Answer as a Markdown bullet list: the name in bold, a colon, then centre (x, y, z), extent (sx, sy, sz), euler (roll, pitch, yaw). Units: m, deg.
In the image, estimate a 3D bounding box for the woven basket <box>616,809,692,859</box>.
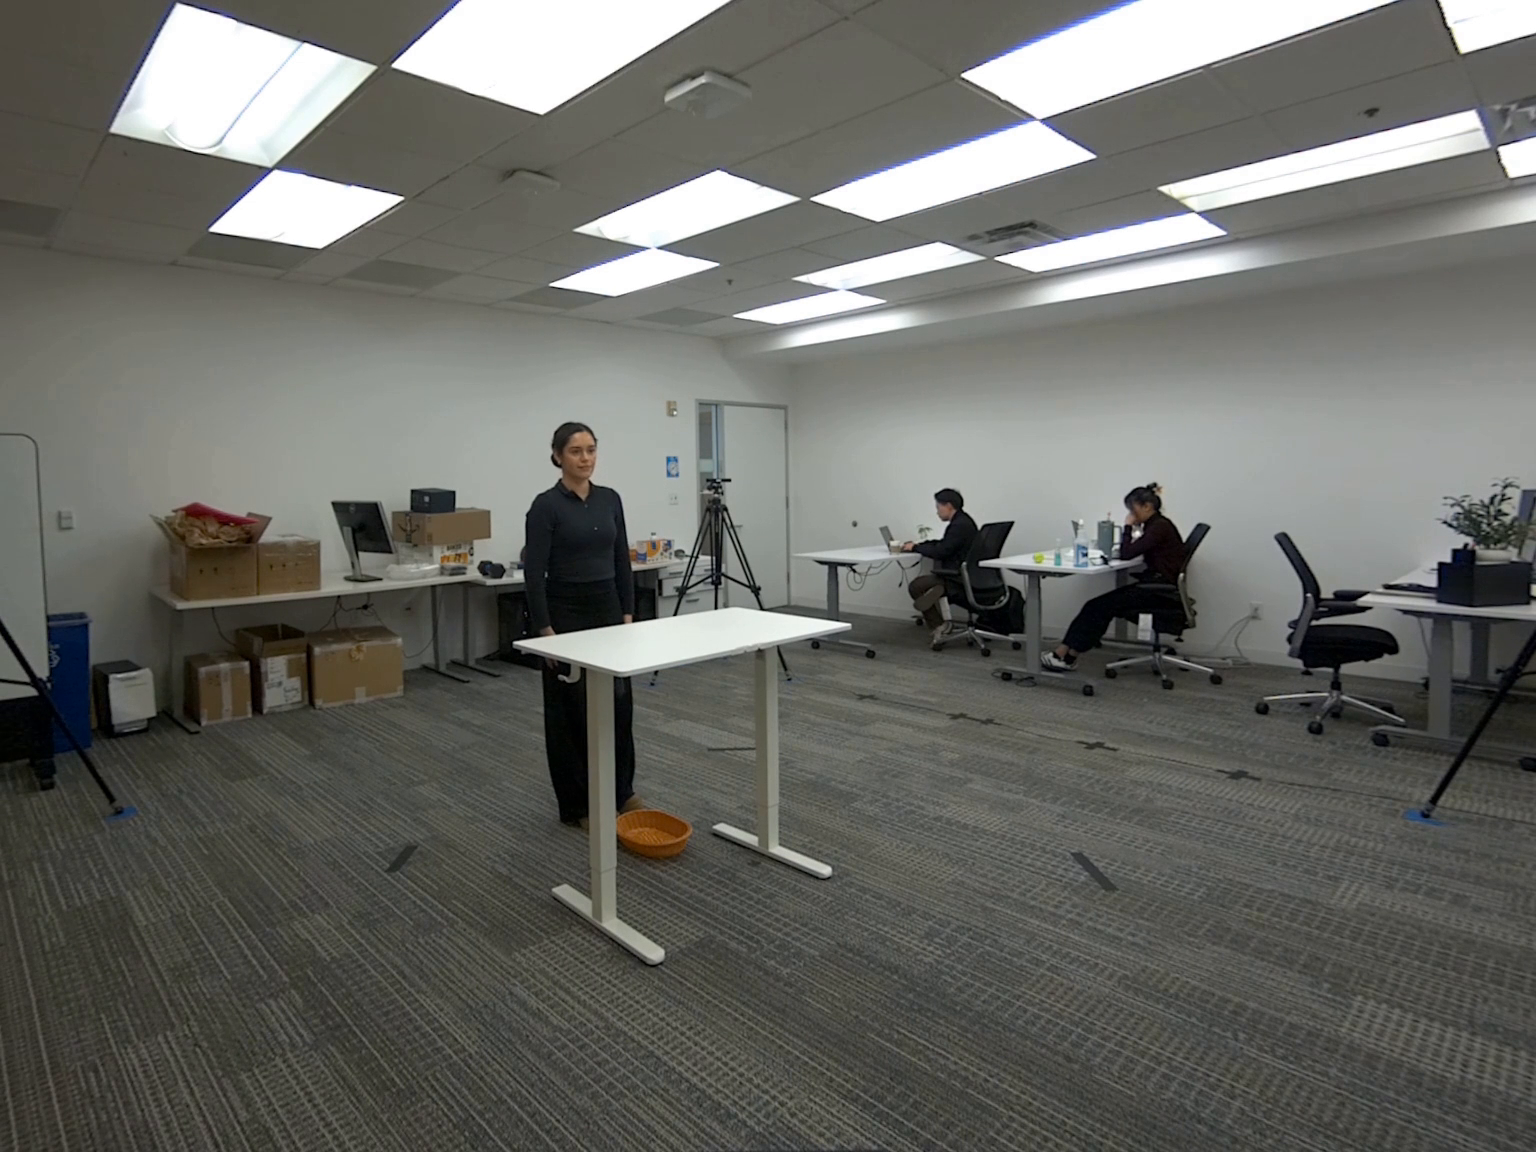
- **woven basket**: centre (-0.441, 0.993, 3.279), extent (0.246, 0.073, 0.361), euler (-7, 9, -41)
